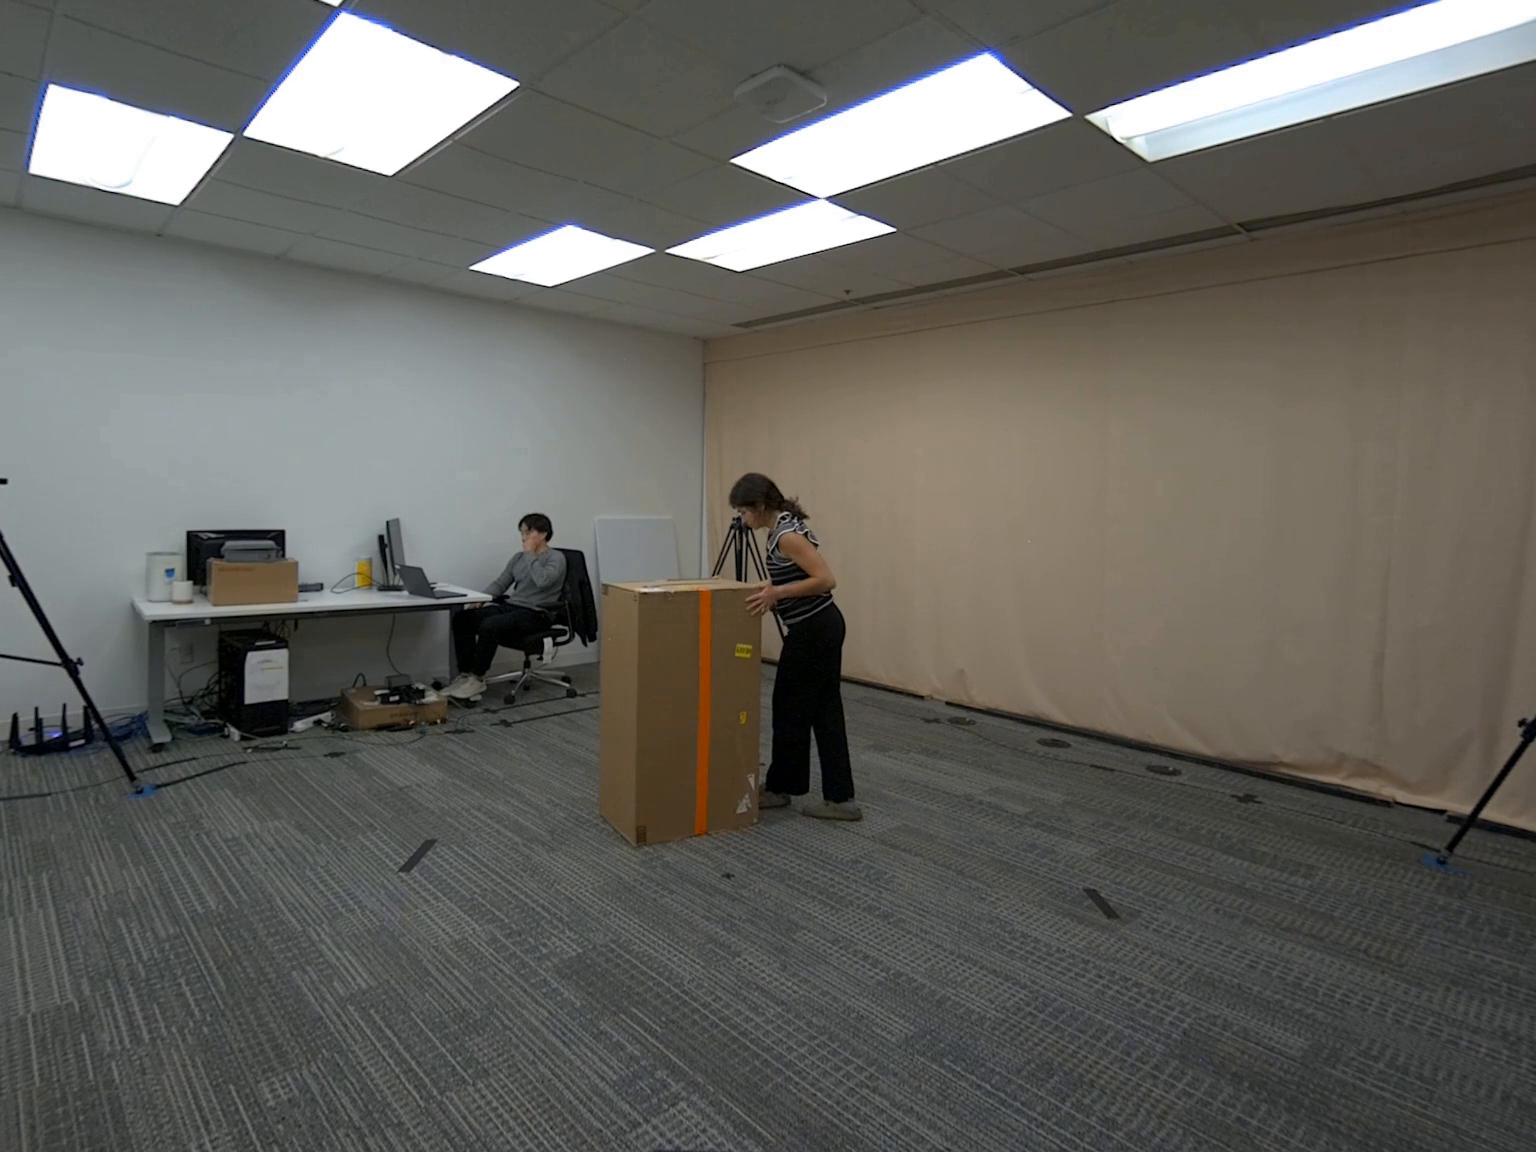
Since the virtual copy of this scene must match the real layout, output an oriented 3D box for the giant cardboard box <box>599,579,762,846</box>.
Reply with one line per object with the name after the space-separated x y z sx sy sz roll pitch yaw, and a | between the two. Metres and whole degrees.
-0.393 0.552 3.629 0.566 1.024 0.436 0 3 -30 | giant cardboard box
